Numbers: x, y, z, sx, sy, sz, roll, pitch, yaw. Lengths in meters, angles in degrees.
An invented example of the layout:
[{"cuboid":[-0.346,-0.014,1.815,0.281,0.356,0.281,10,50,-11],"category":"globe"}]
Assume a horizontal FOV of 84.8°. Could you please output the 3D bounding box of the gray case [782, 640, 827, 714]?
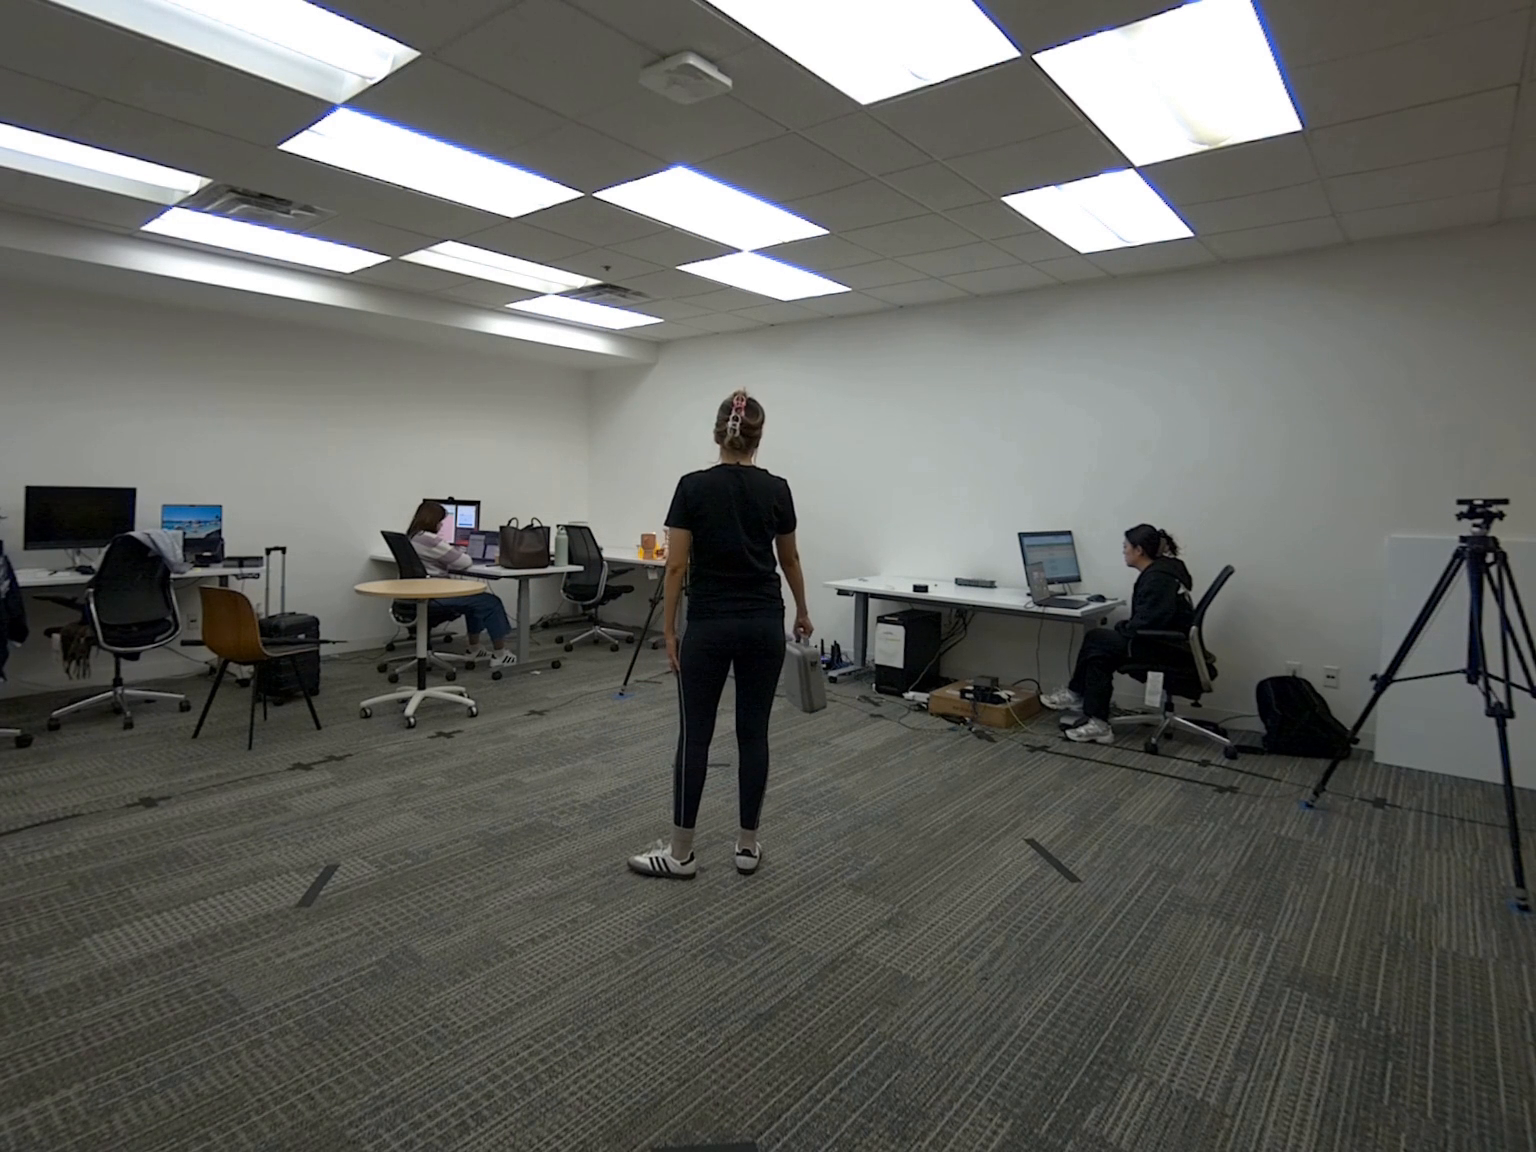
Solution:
[{"cuboid":[0.129,0.394,3.438,0.103,0.259,0.261,-8,6,-11],"category":"gray case"}]
